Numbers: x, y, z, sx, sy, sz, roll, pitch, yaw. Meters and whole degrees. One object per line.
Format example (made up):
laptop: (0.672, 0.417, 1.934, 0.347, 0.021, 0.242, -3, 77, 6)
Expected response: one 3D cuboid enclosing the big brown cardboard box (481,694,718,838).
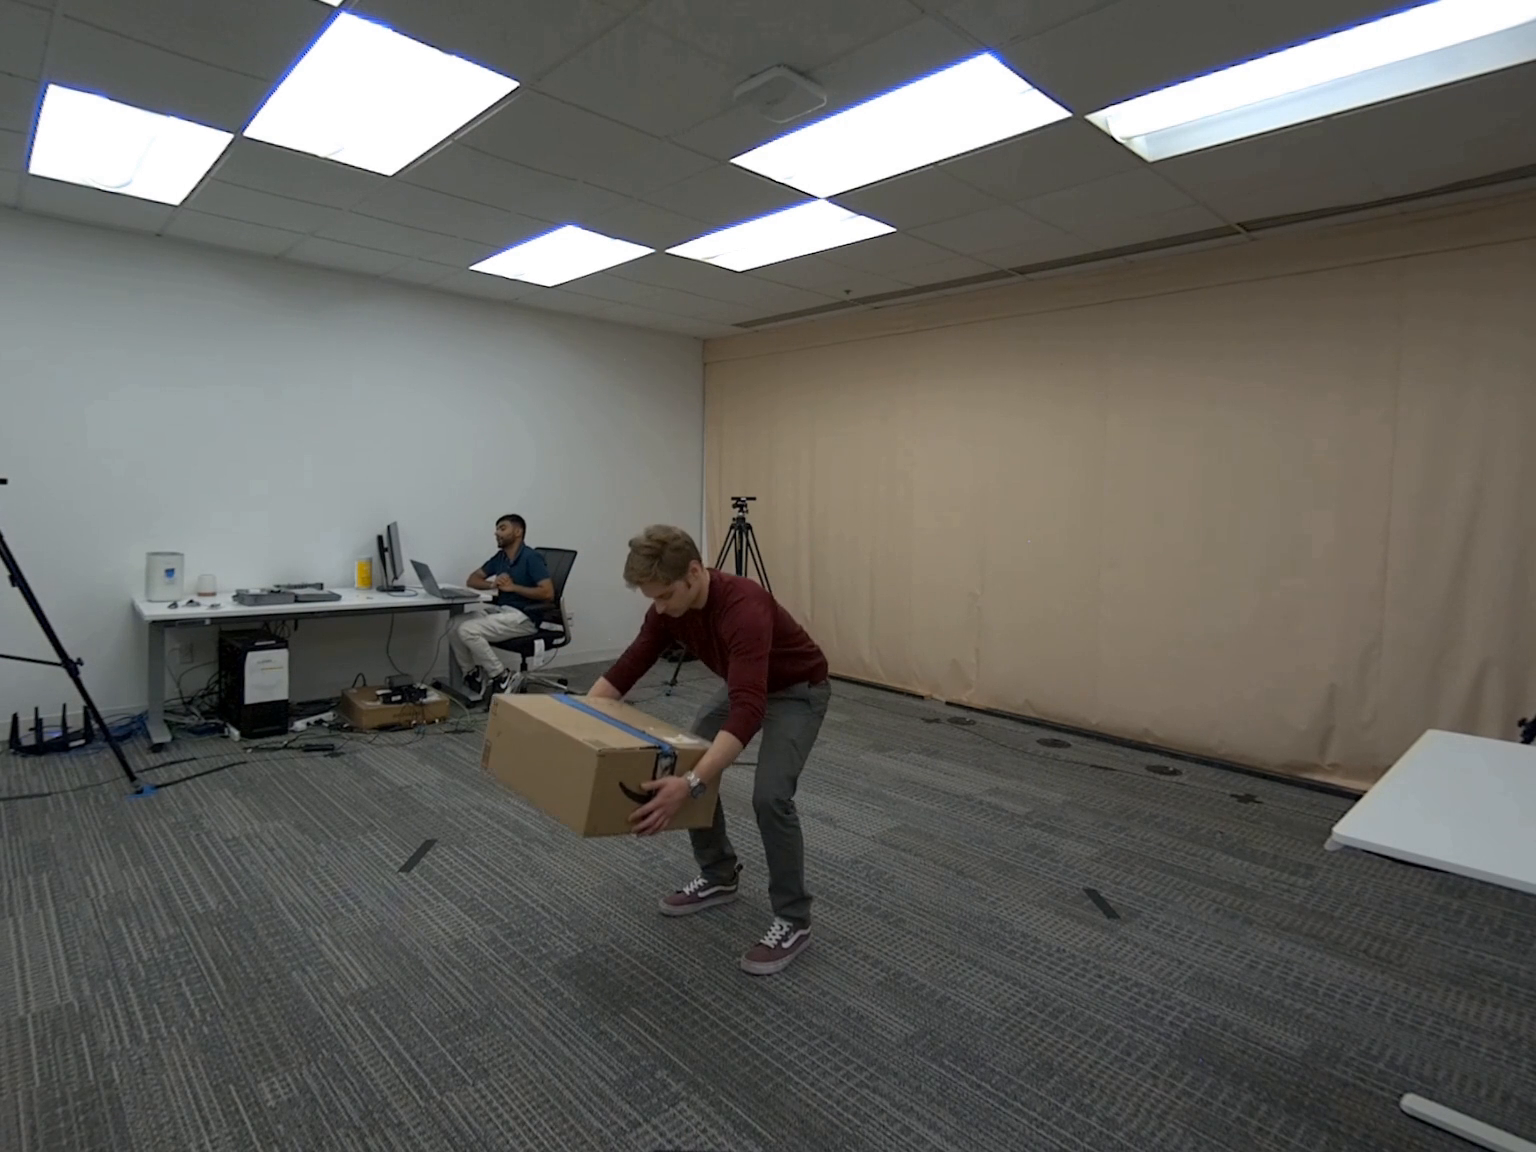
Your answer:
big brown cardboard box: (-0.466, 0.518, 2.341, 0.406, 0.233, 0.605, 9, 0, -44)
